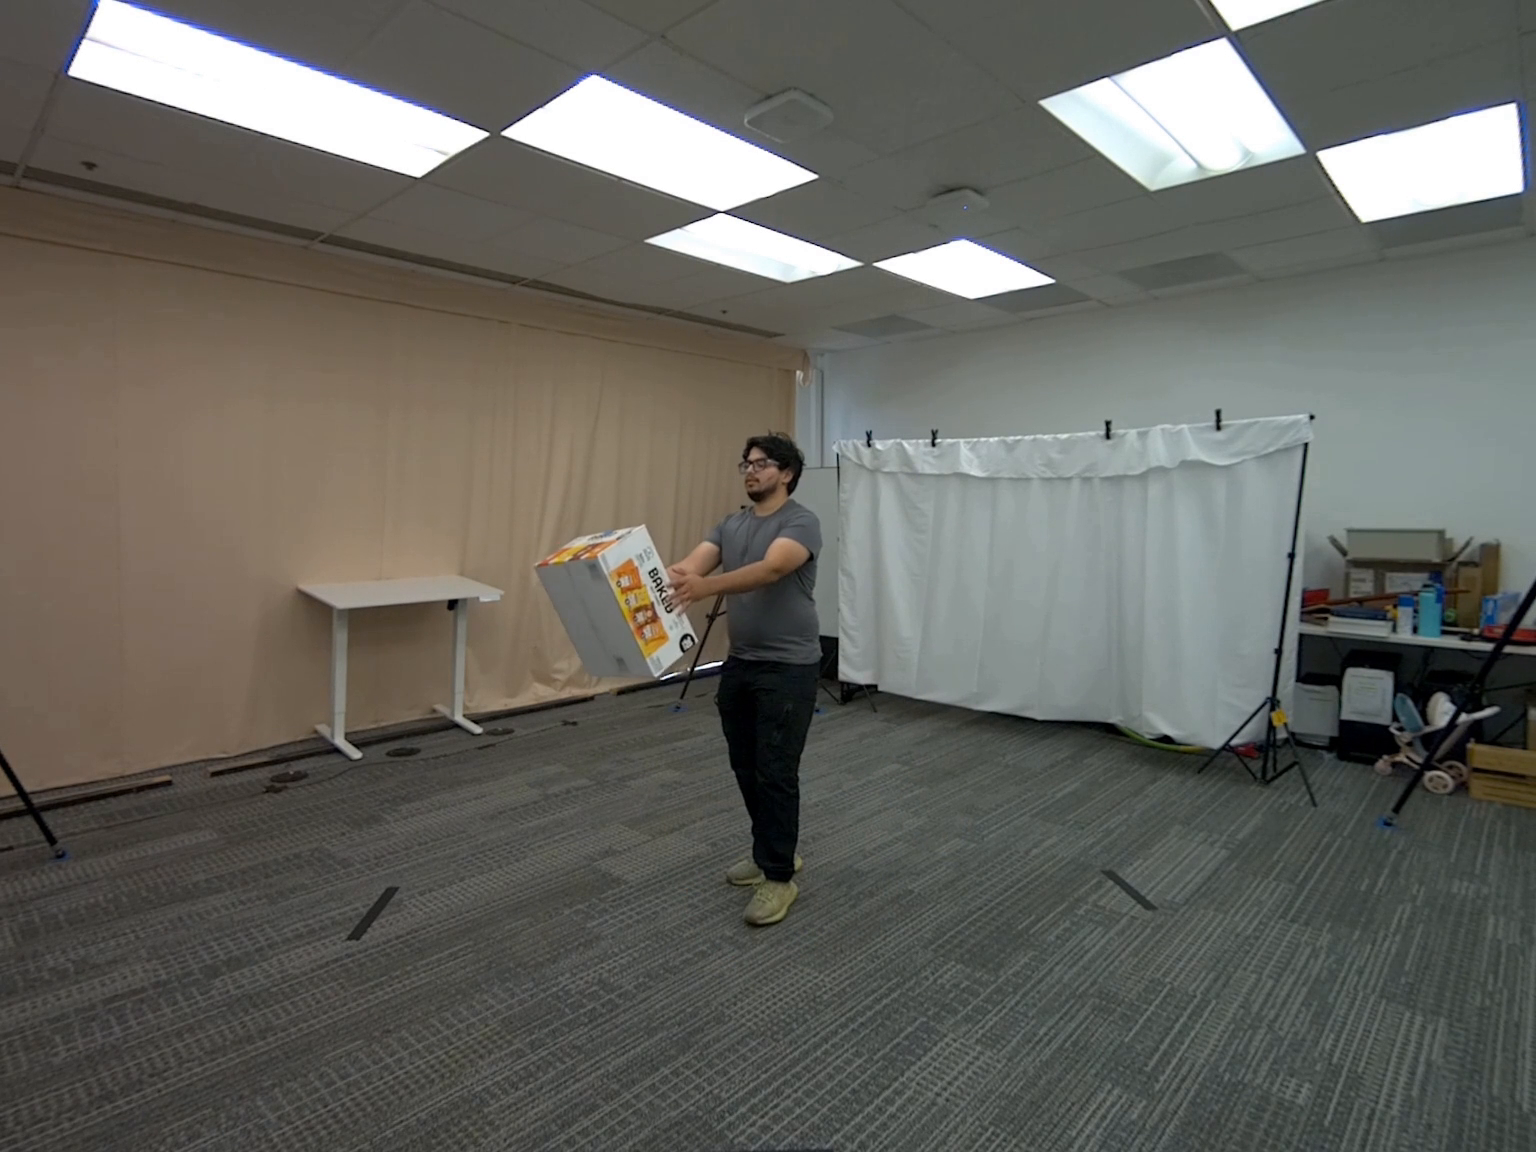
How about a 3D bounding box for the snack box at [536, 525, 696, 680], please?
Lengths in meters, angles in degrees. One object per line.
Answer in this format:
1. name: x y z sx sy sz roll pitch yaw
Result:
1. snack box: -0.465 0.083 2.570 0.350 0.399 0.203 -6 22 45
